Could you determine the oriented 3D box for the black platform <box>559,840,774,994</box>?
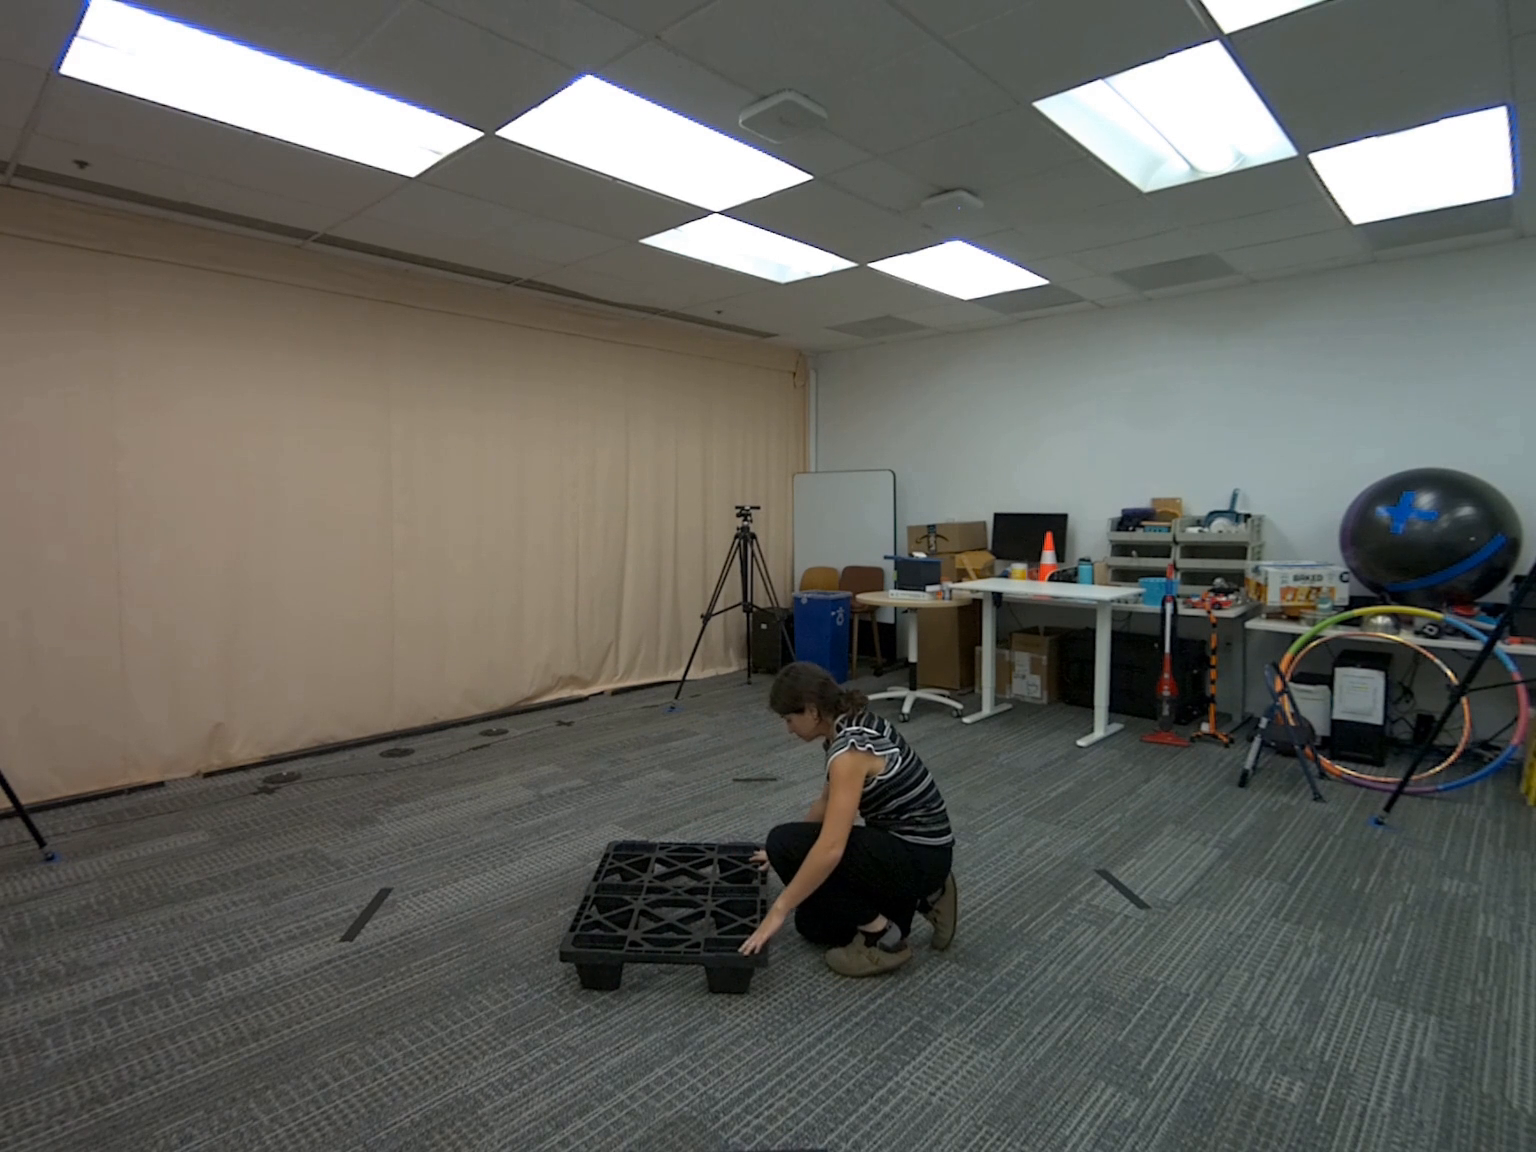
[{"bbox_3d":[-0.293,1.094,2.775,0.607,0.143,0.805,0,5,2],"label":"black platform"}]
